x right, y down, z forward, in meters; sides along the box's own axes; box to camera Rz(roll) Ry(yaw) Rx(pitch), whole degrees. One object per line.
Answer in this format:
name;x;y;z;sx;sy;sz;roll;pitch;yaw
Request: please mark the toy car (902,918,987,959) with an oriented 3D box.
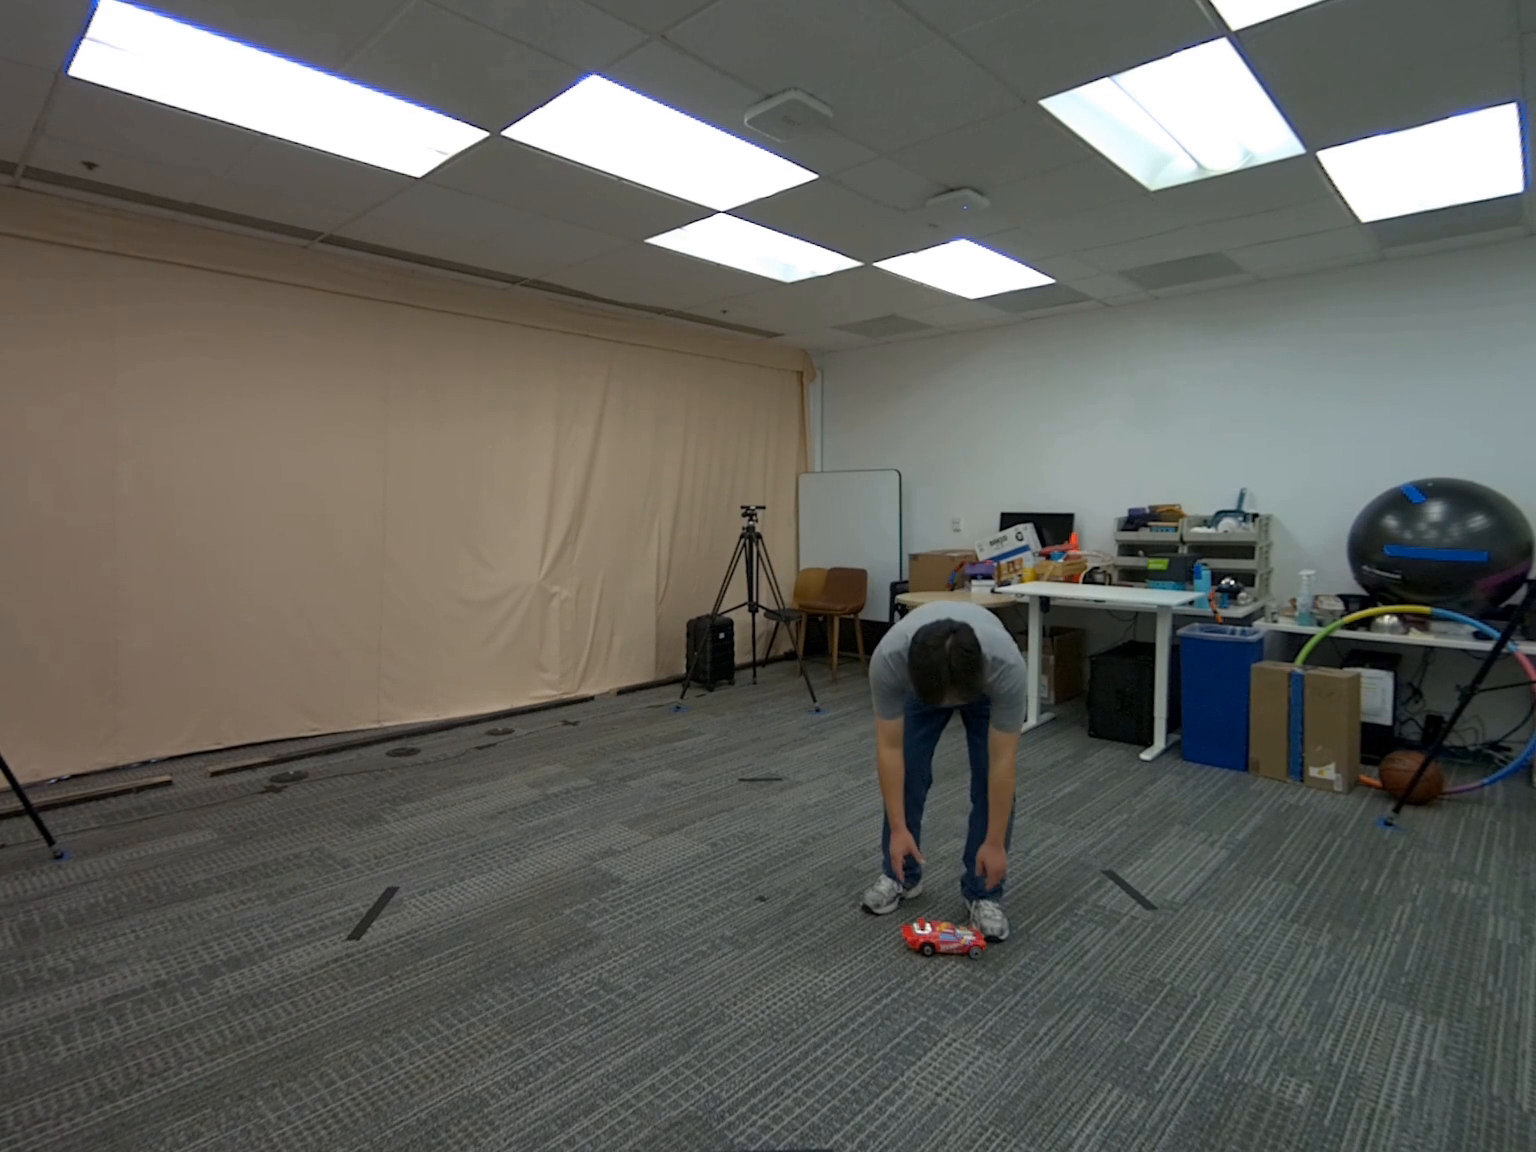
toy car;0.552;1.142;2.635;0.256;0.083;0.130;9;6;4
